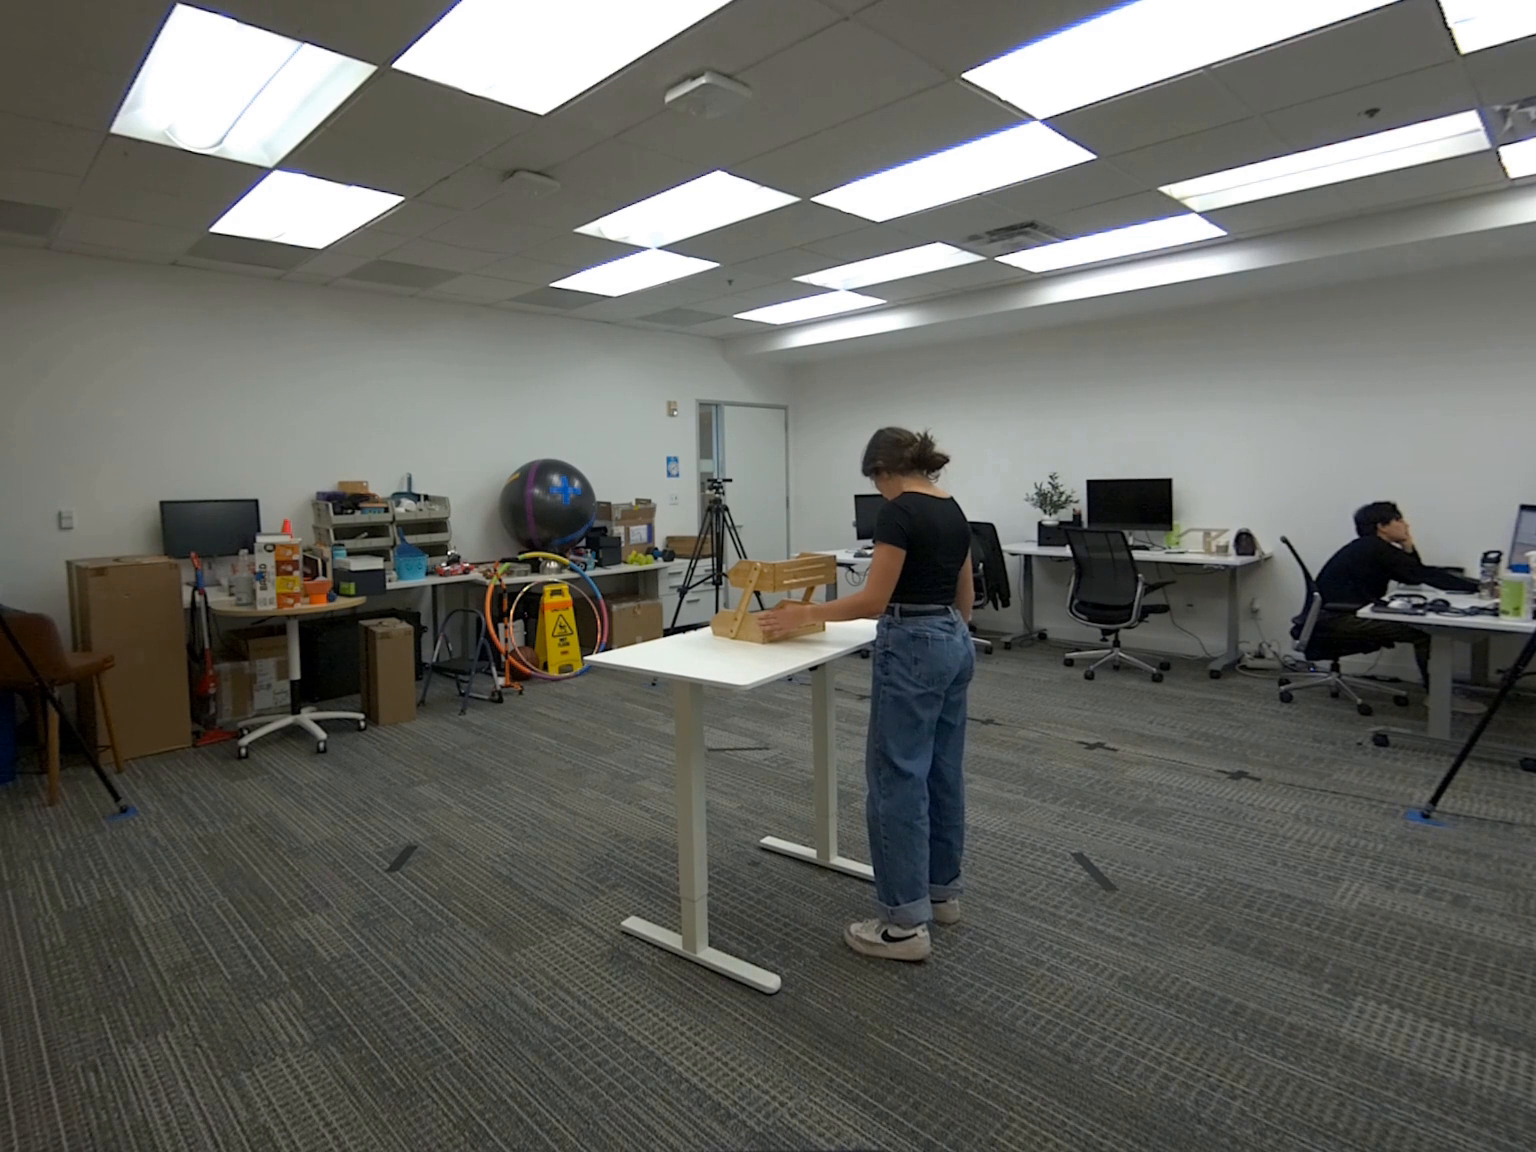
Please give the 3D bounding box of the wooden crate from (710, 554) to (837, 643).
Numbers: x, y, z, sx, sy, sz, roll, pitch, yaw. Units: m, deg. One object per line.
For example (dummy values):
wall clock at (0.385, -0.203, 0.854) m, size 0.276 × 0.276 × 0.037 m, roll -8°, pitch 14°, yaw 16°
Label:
wooden crate at (0.022, 0.059, 2.826) m, size 0.316 × 0.272 × 0.311 m, roll -7°, pitch 9°, yaw -44°
